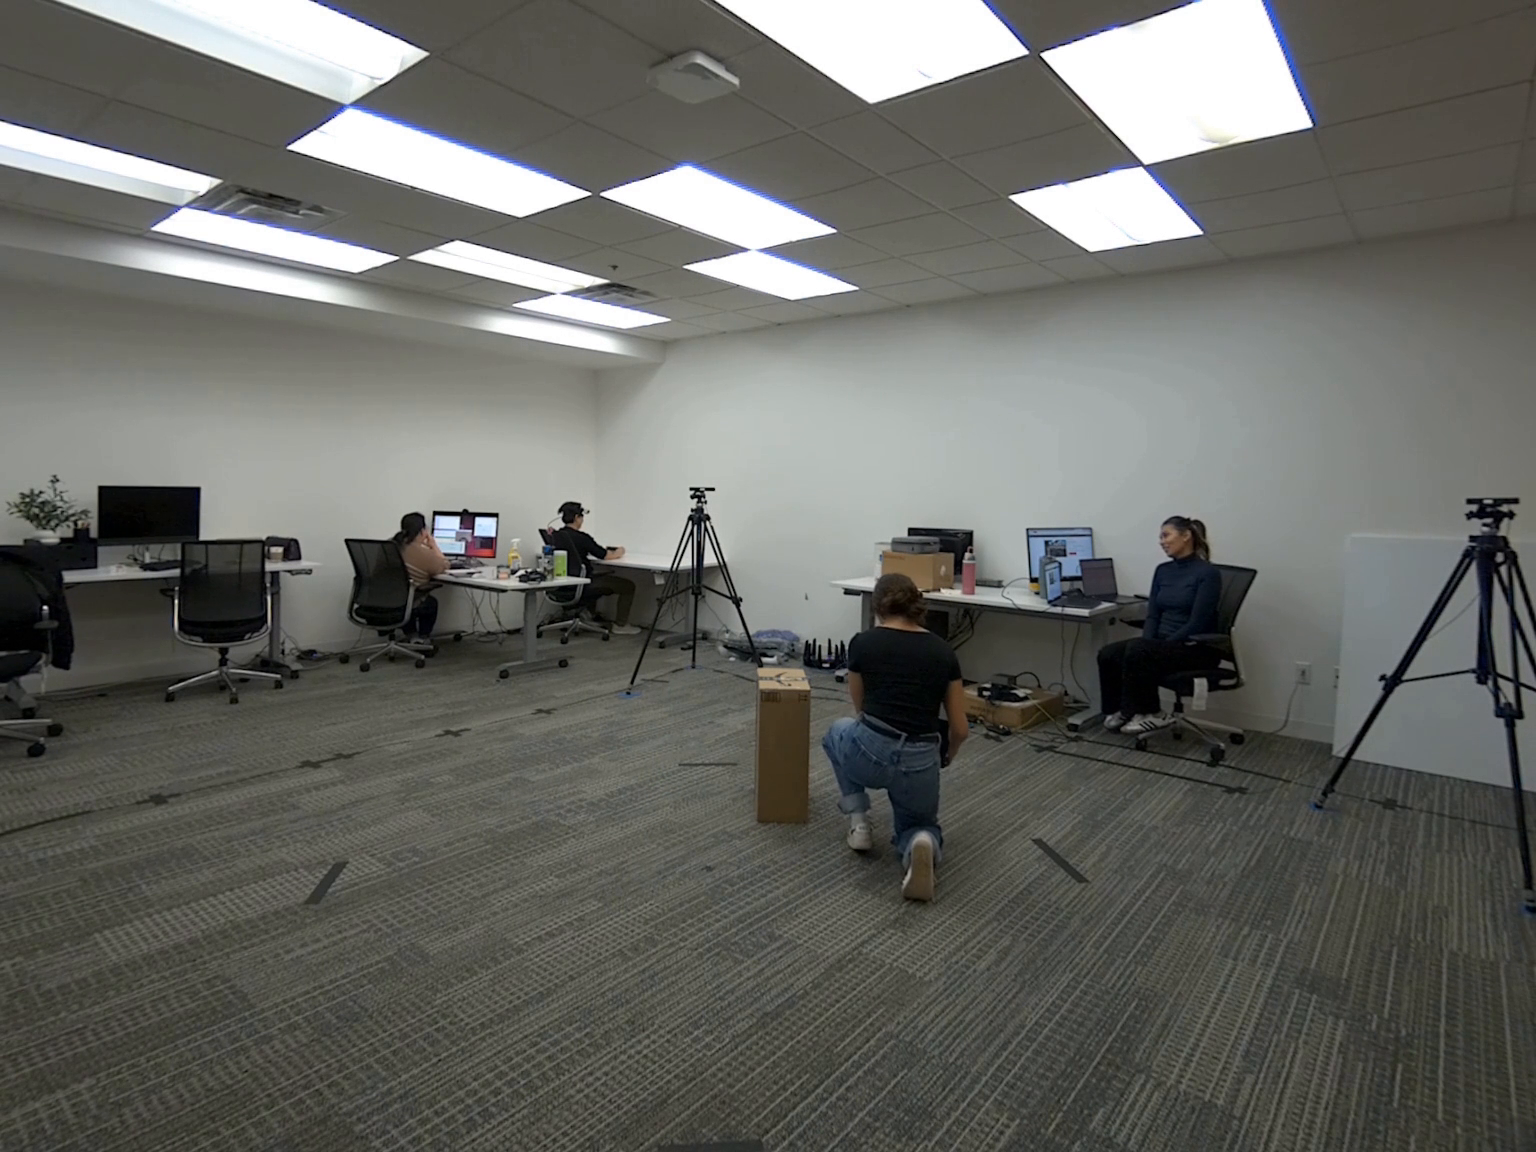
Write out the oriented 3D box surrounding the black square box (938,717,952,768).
[{"bbox_3d":[0.617,0.617,3.413,0.220,0.224,0.156,6,20,12],"label":"black square box"}]
